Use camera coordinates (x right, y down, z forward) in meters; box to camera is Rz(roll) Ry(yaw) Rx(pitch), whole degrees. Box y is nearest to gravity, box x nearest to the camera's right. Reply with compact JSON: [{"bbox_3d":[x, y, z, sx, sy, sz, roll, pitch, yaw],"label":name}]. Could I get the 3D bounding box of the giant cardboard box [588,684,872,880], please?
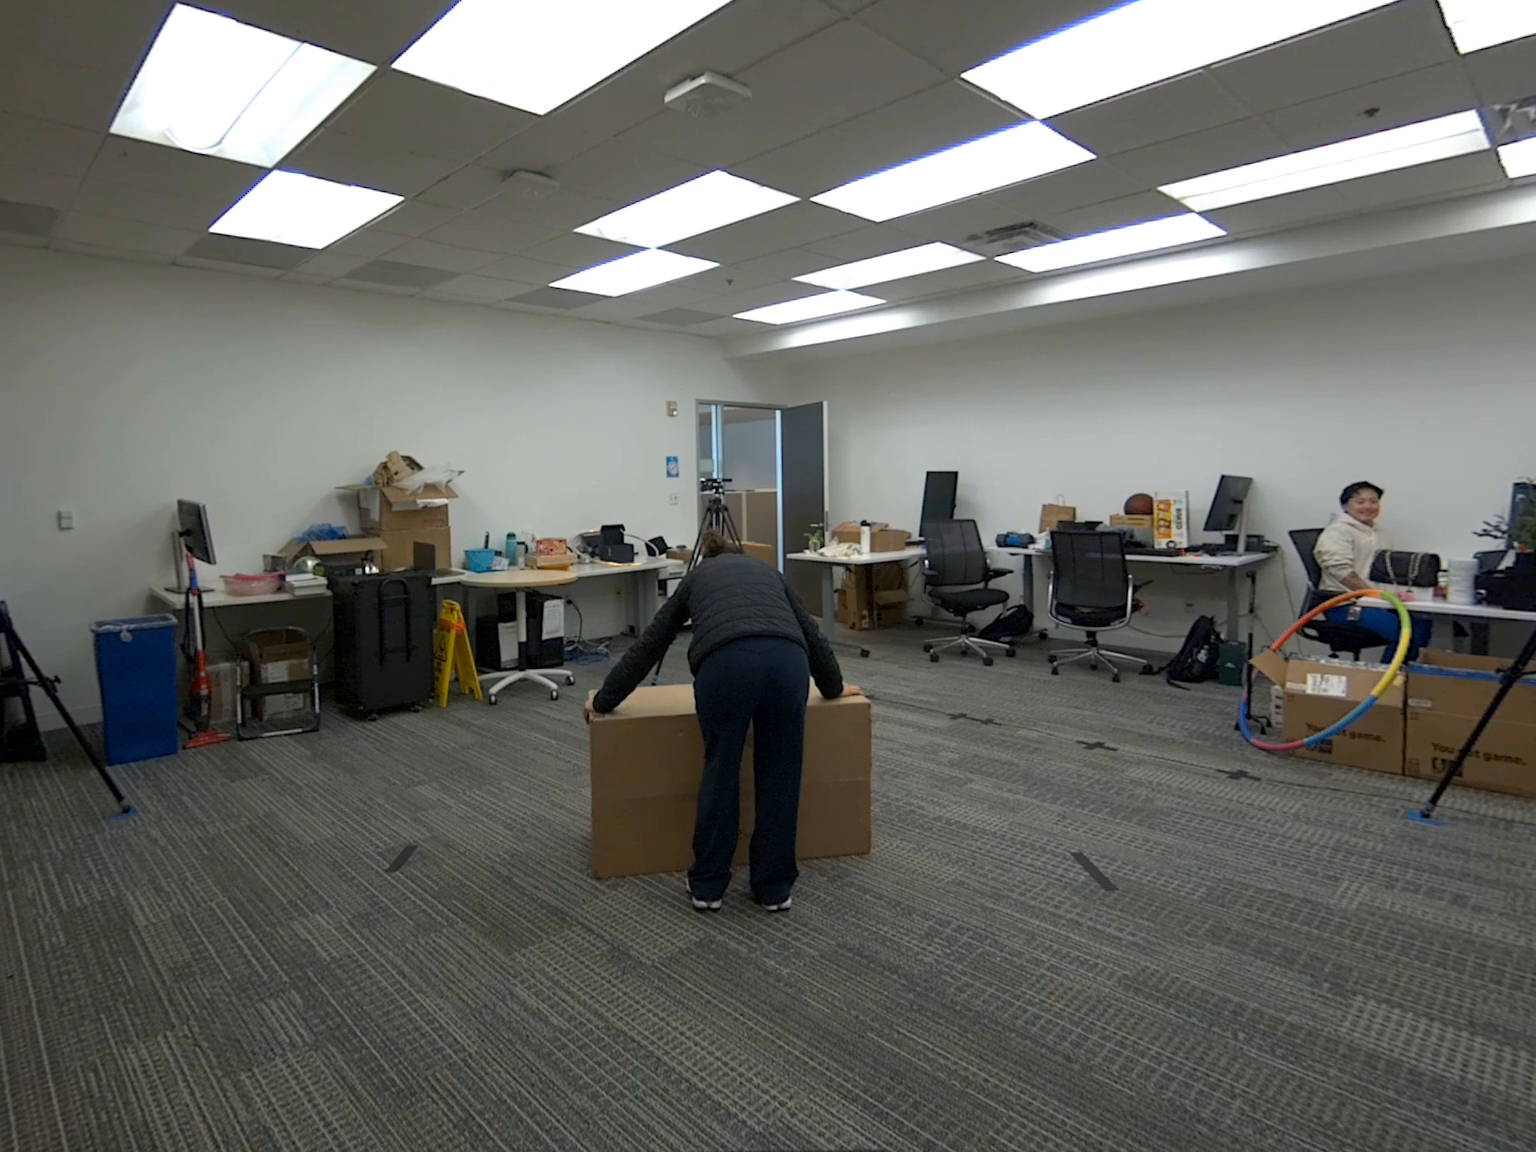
[{"bbox_3d":[-0.175,0.736,3.289,1.017,0.581,0.453,-2,6,-10],"label":"giant cardboard box"}]
